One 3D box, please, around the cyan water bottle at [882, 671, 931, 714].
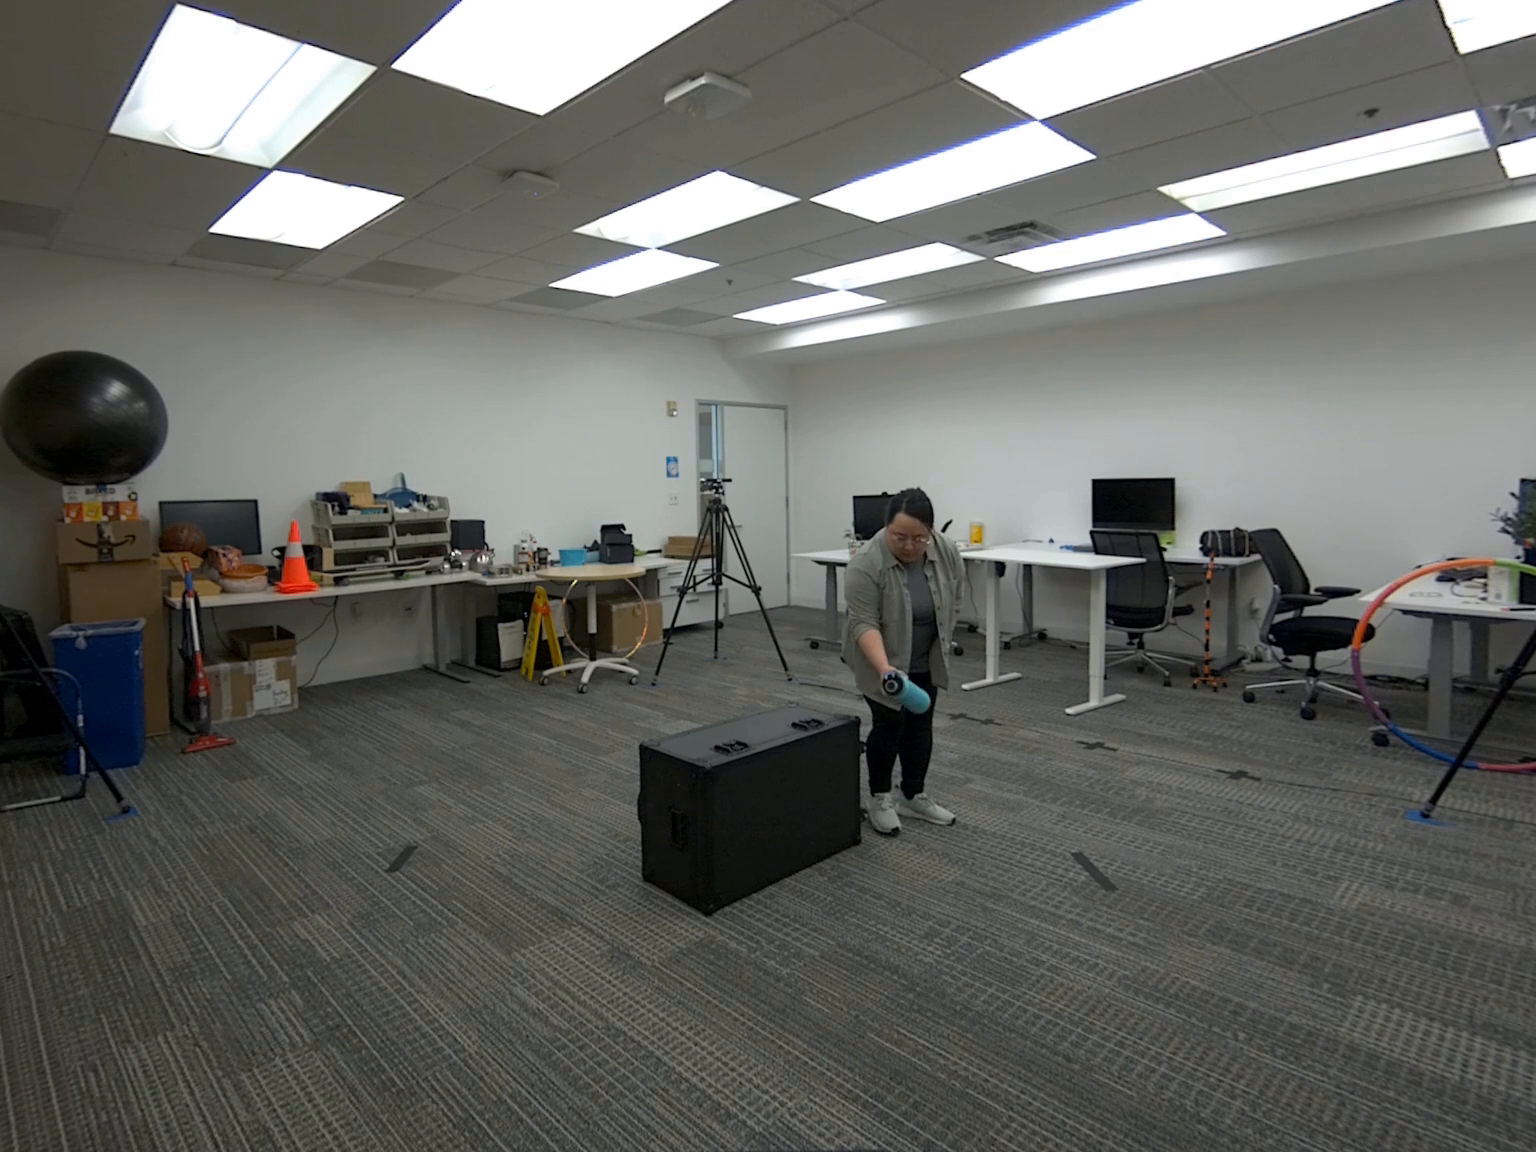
[{"bbox_3d":[0.488,0.425,3.108,0.095,0.093,0.272,2,-21,33],"label":"cyan water bottle"}]
